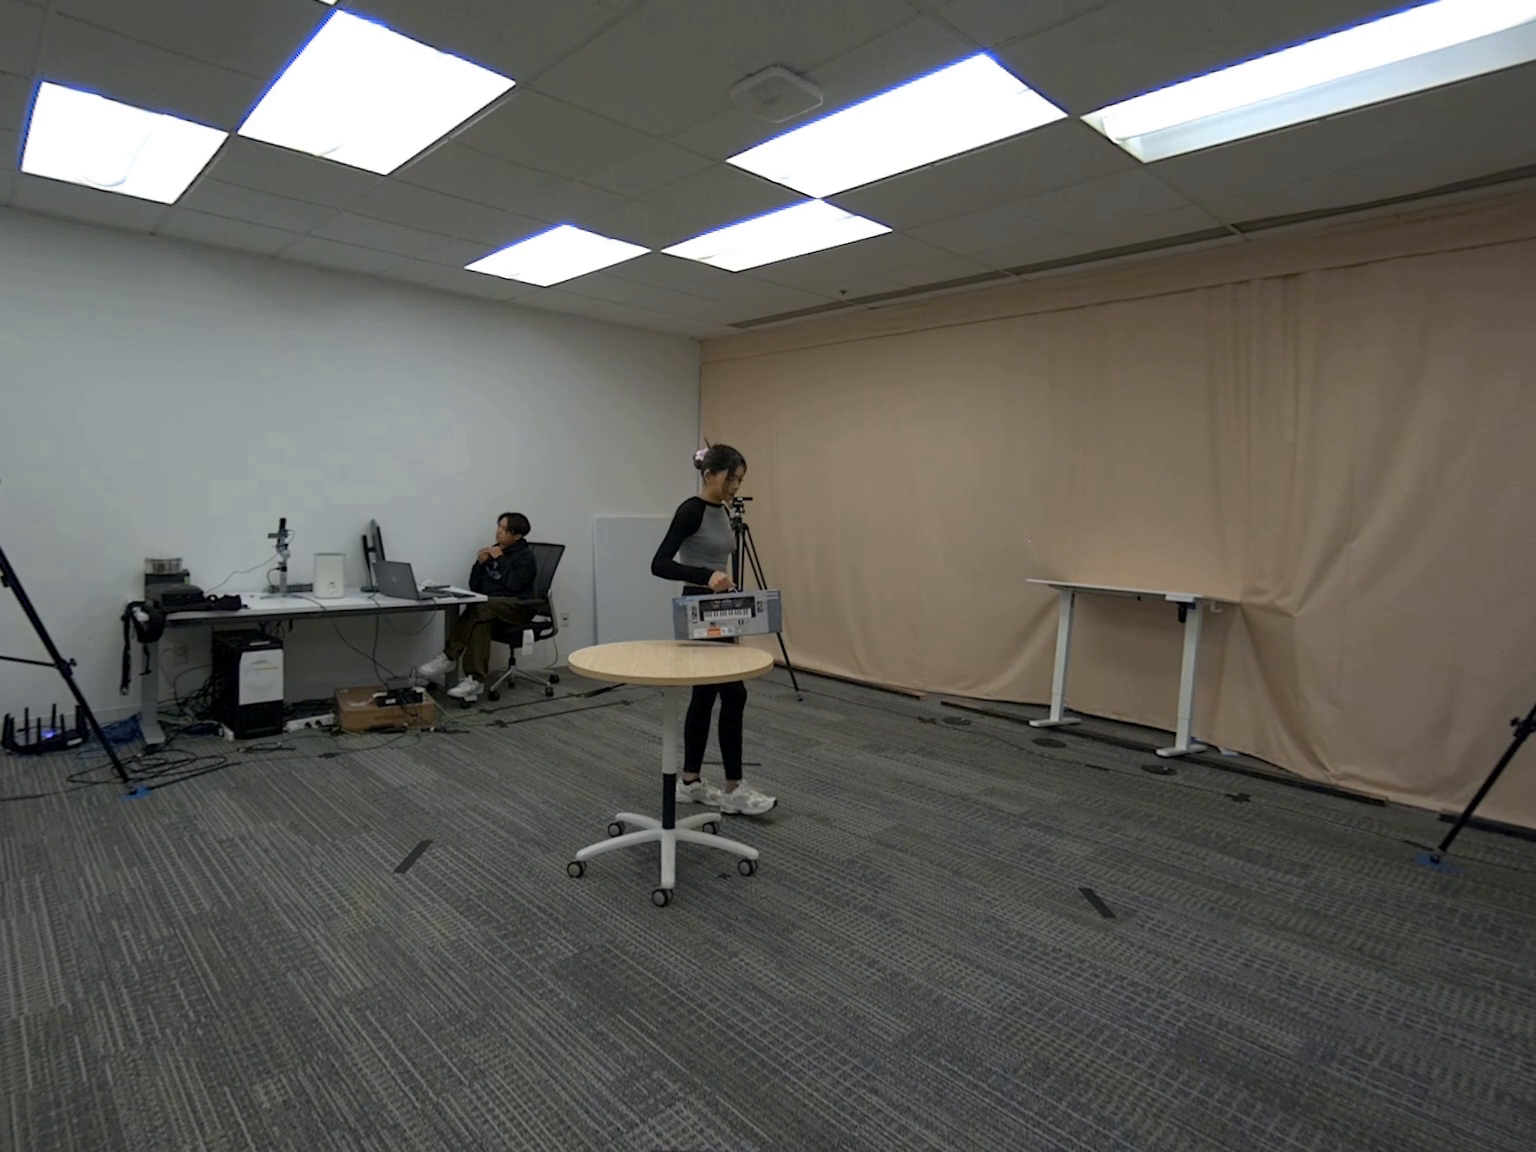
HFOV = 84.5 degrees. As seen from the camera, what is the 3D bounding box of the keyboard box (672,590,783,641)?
[{"bbox_3d":[-0.172,0.162,3.421,0.435,0.176,0.059,-3,0,-3],"label":"keyboard box"}]
